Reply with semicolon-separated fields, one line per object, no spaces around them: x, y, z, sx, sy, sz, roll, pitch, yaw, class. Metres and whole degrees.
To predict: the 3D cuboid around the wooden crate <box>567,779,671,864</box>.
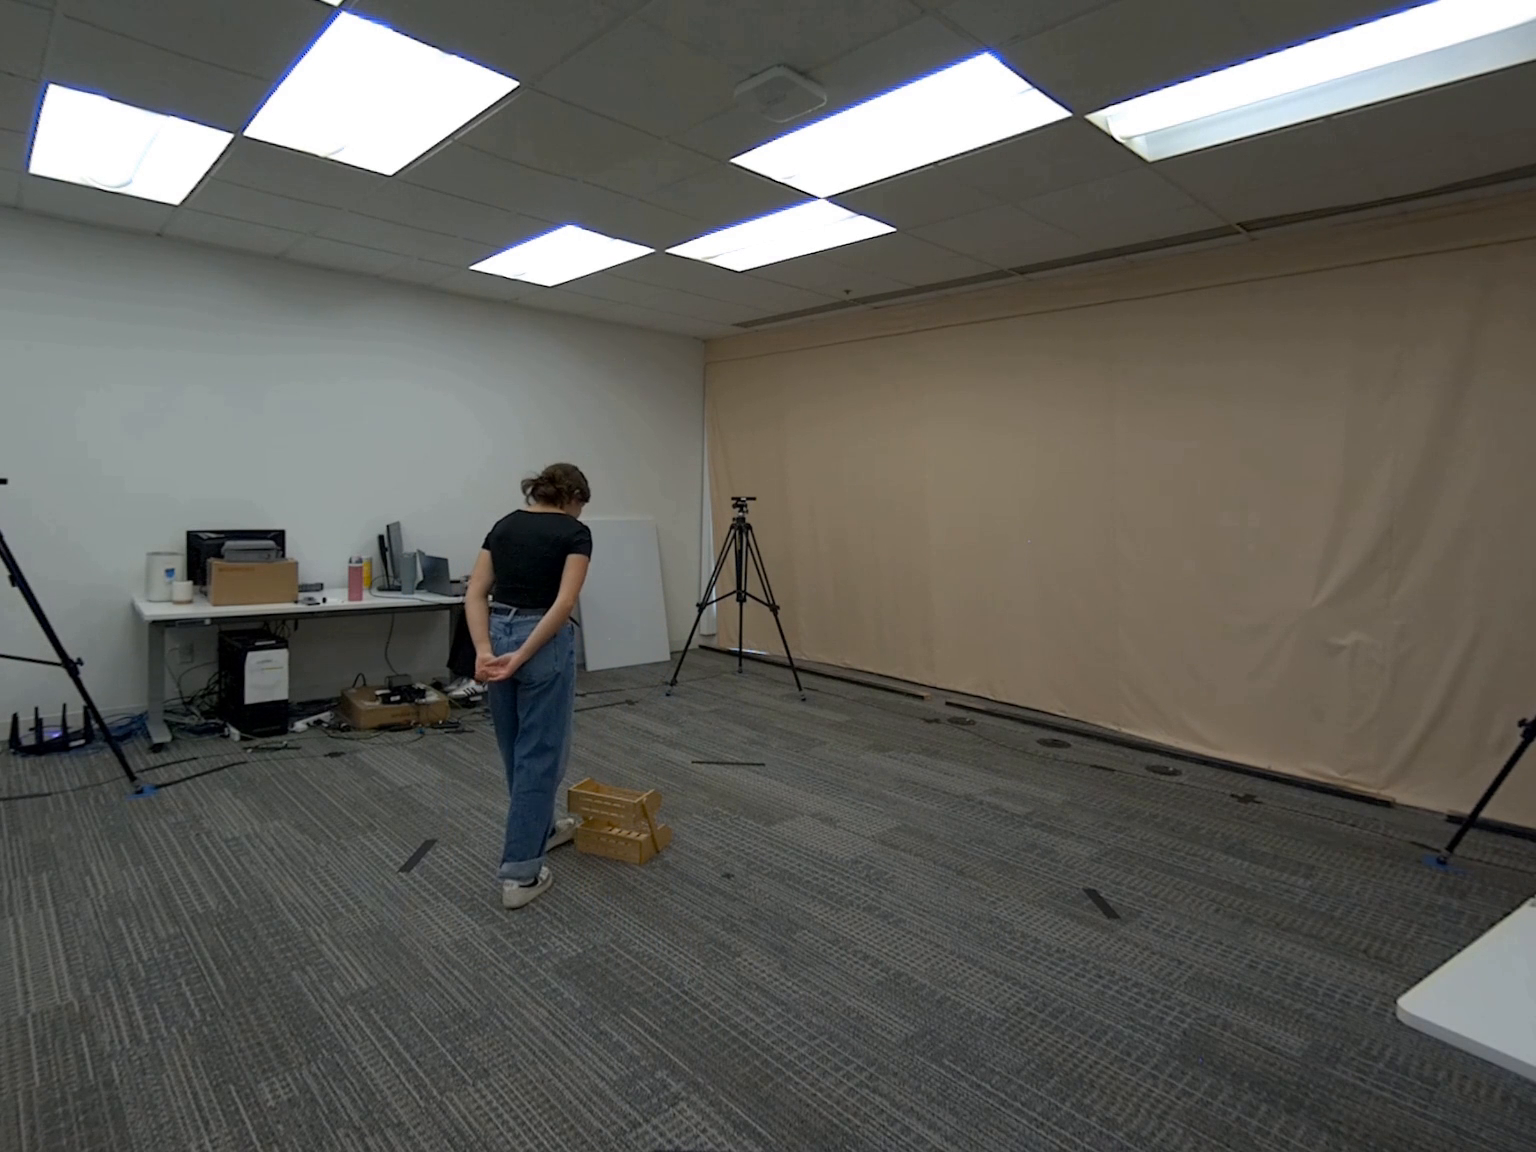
-0.587;0.944;3.326;0.330;0.272;0.297;2;5;22;wooden crate
